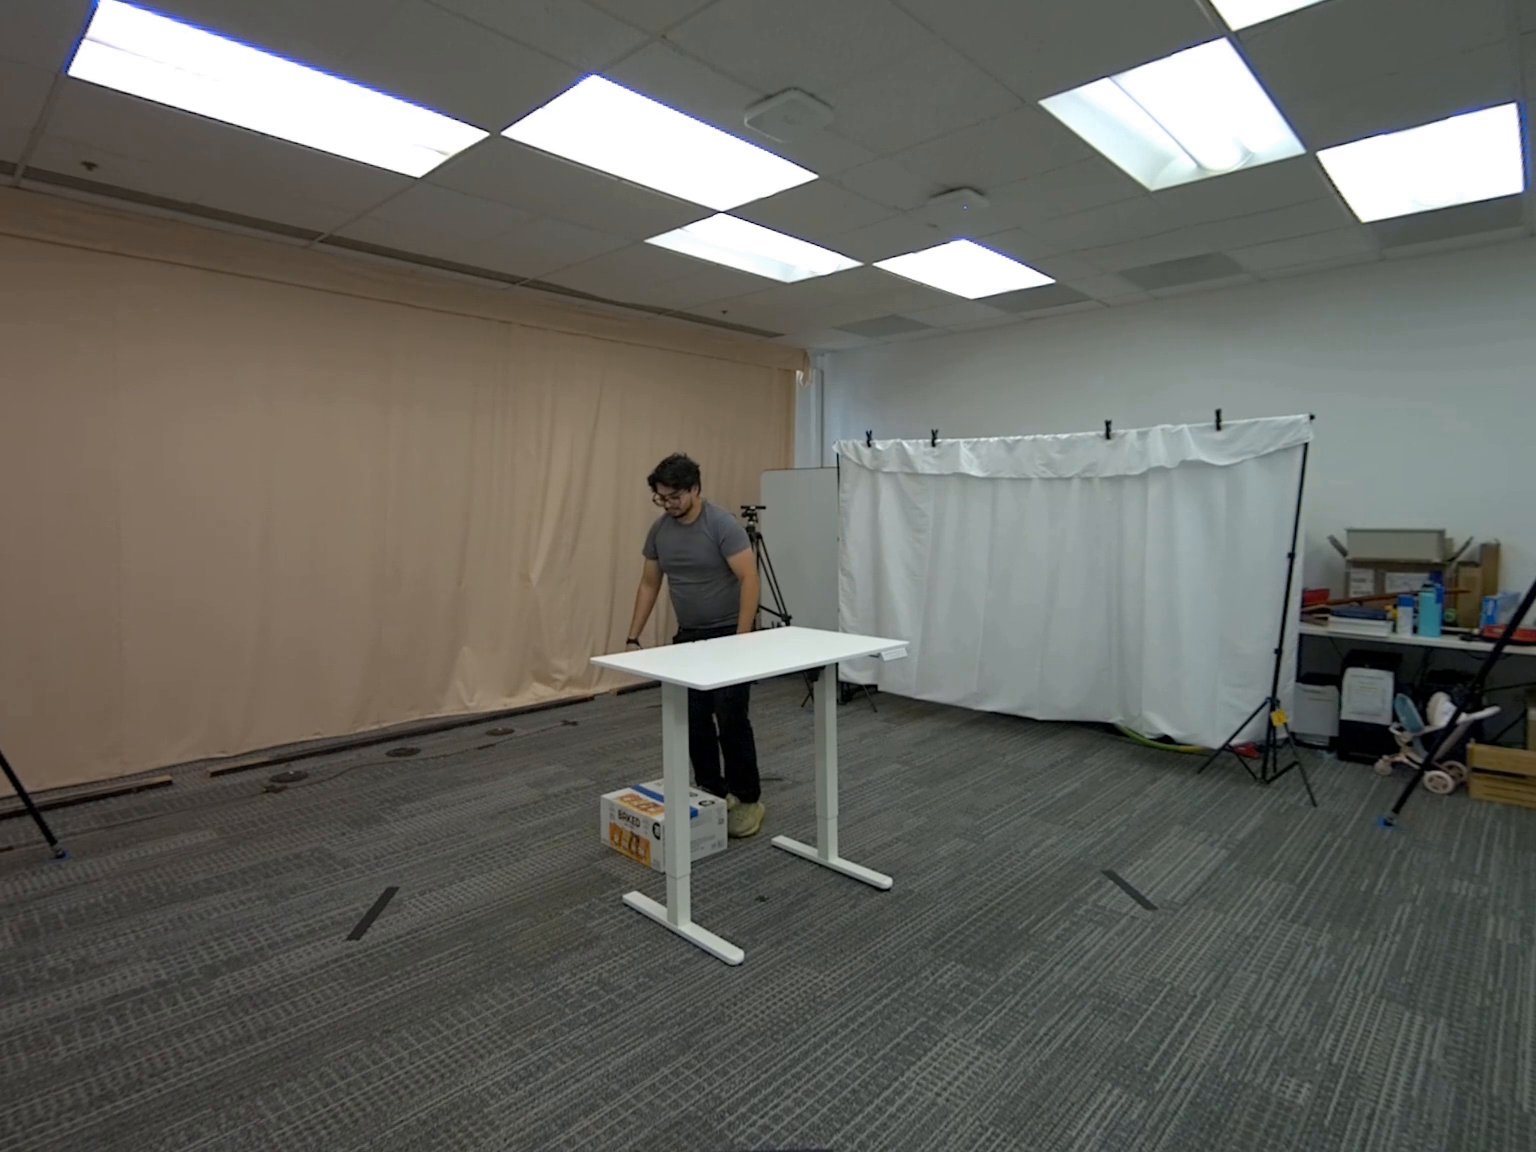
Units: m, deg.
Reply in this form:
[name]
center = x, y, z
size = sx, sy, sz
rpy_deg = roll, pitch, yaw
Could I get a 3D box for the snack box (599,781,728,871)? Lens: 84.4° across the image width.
[snack box]
center = -0.430, 1.010, 3.440
size = 0.330, 0.205, 0.418
rpy_deg = -5, 6, -43
